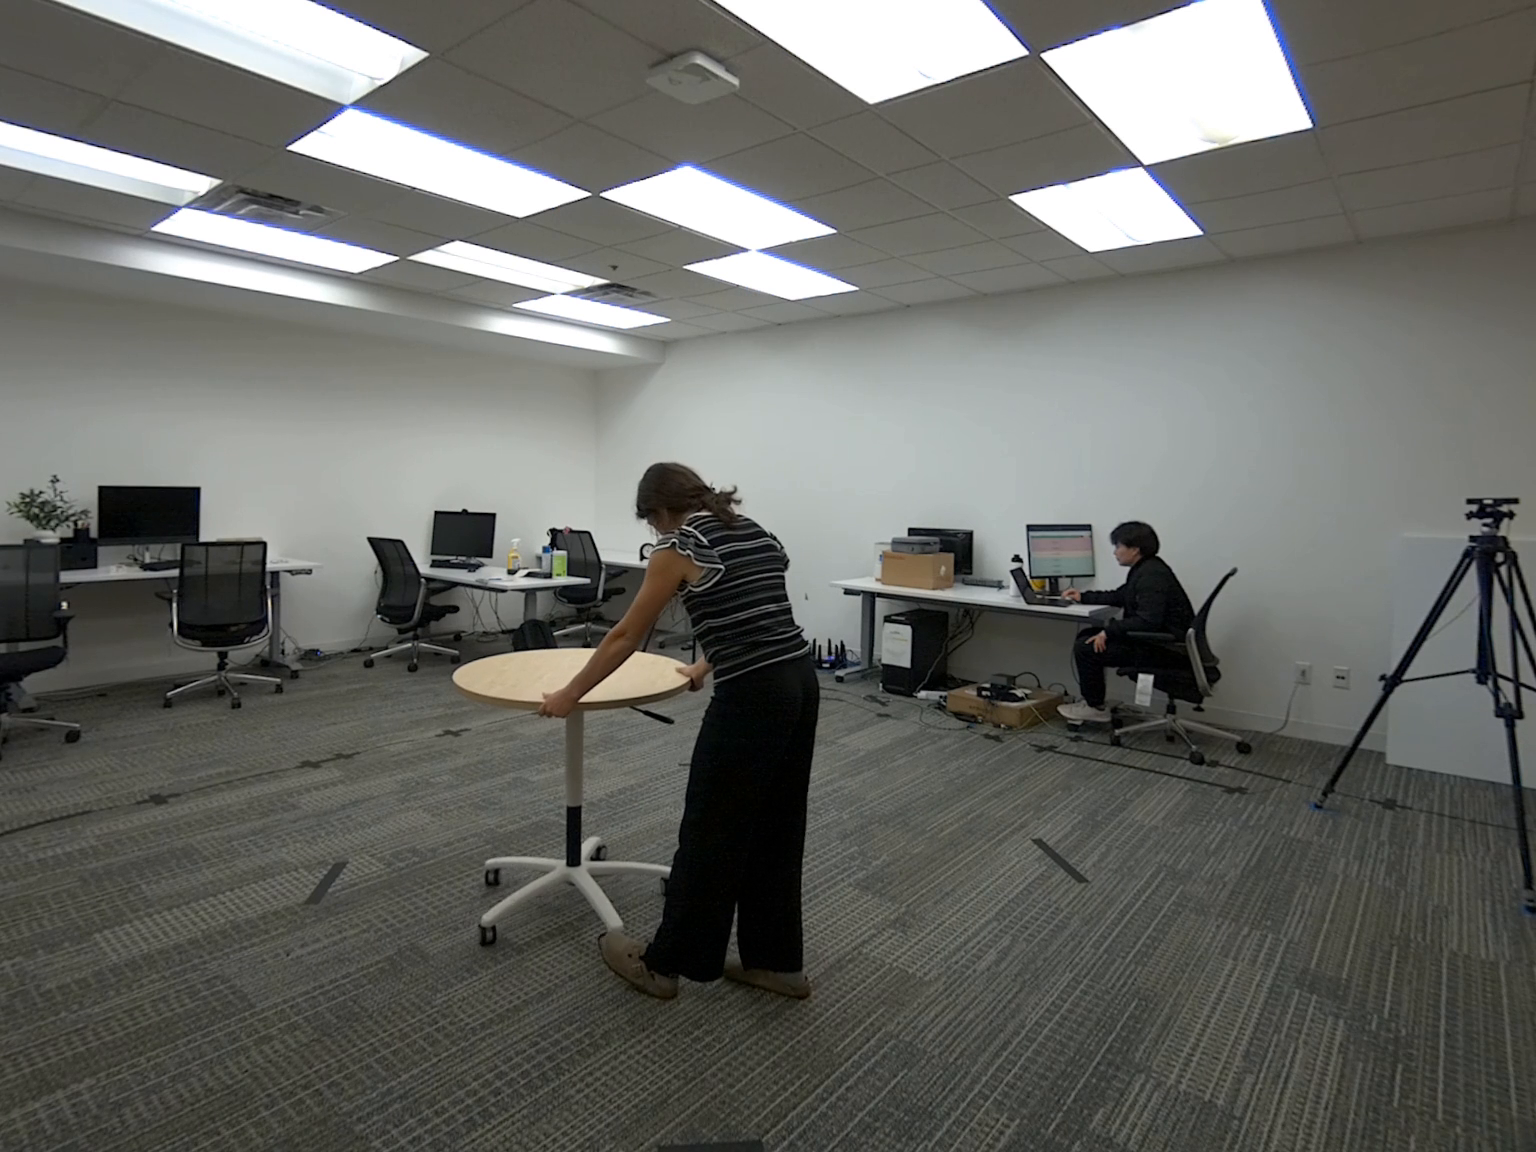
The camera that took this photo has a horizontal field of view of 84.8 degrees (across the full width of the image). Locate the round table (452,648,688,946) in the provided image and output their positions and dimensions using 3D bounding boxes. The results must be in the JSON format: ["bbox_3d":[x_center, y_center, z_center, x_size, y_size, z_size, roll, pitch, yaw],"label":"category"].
[{"bbox_3d":[-0.648,0.701,2.803,0.763,0.791,0.768,1,5,-2],"label":"round table"}]
